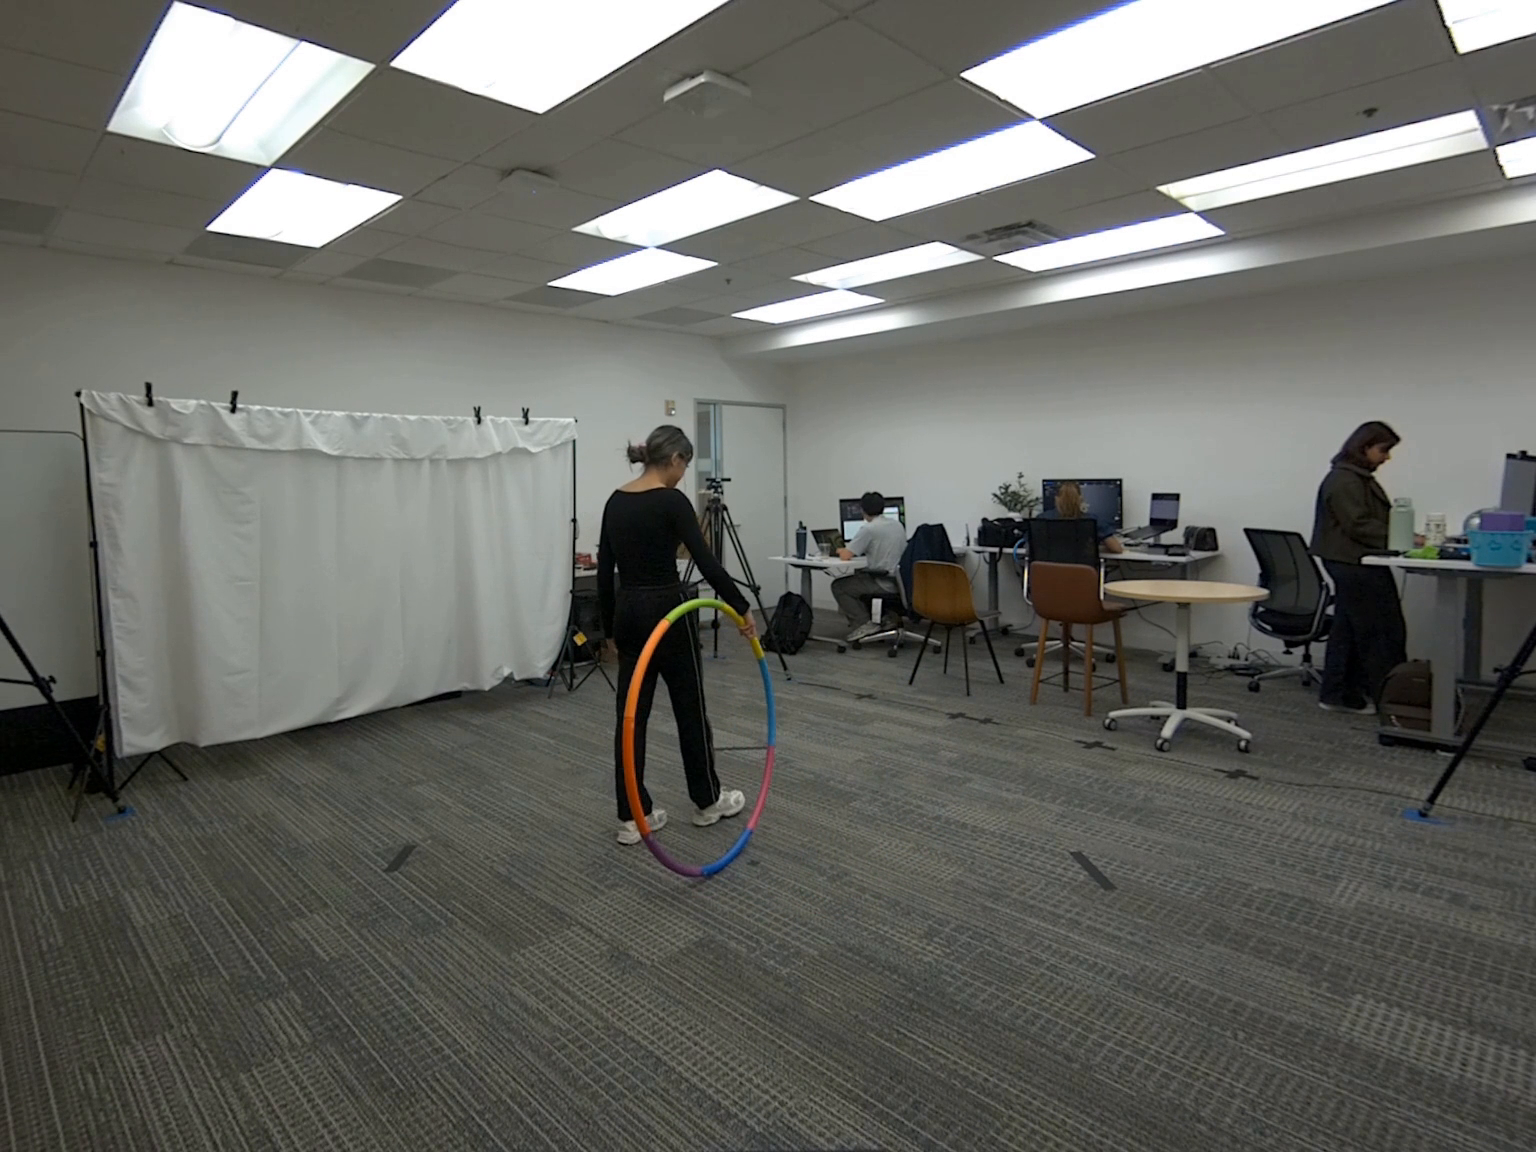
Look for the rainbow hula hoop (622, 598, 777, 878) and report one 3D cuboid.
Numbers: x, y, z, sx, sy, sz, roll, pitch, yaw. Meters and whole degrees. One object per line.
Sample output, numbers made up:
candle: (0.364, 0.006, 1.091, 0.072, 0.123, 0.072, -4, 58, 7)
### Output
rainbow hula hoop: (-0.213, 0.571, 3.076, 0.036, 0.978, 0.958, -6, 1, 28)
